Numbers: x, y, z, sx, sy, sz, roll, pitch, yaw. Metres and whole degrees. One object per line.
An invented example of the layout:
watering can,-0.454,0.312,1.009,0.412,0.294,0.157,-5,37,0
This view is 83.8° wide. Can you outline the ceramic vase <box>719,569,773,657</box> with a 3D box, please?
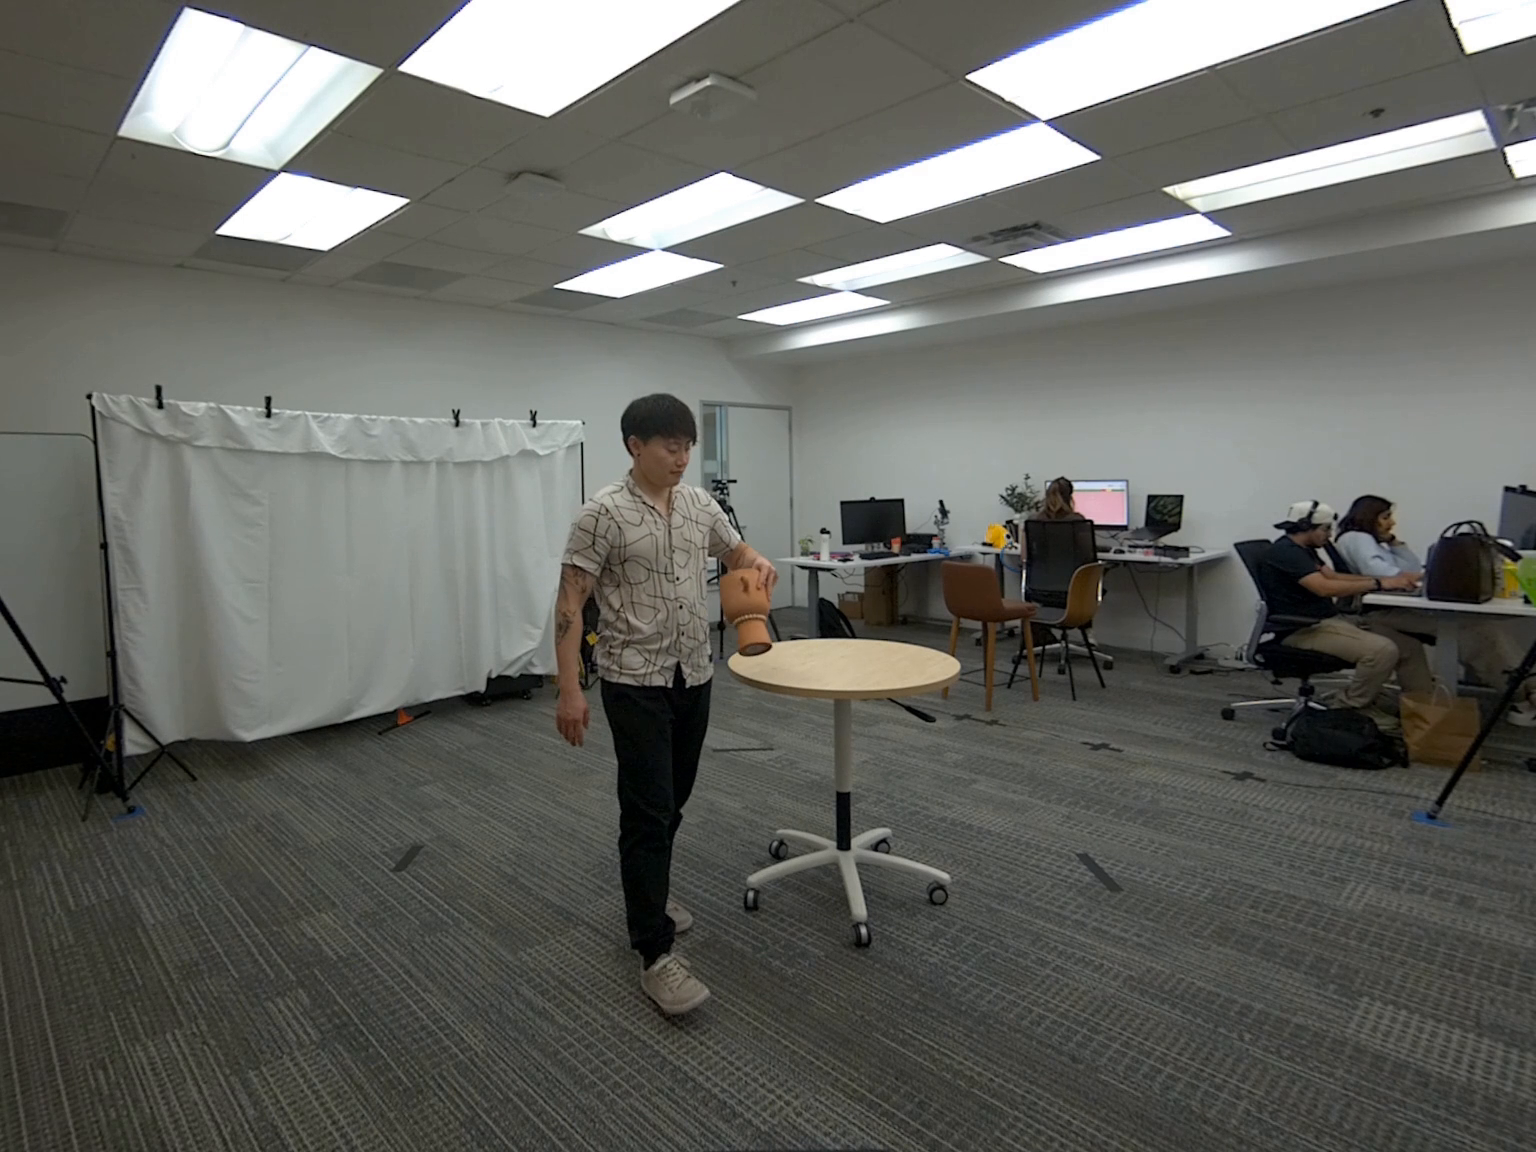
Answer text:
ceramic vase,-0.061,0.106,2.415,0.136,0.225,0.153,-25,-30,28
